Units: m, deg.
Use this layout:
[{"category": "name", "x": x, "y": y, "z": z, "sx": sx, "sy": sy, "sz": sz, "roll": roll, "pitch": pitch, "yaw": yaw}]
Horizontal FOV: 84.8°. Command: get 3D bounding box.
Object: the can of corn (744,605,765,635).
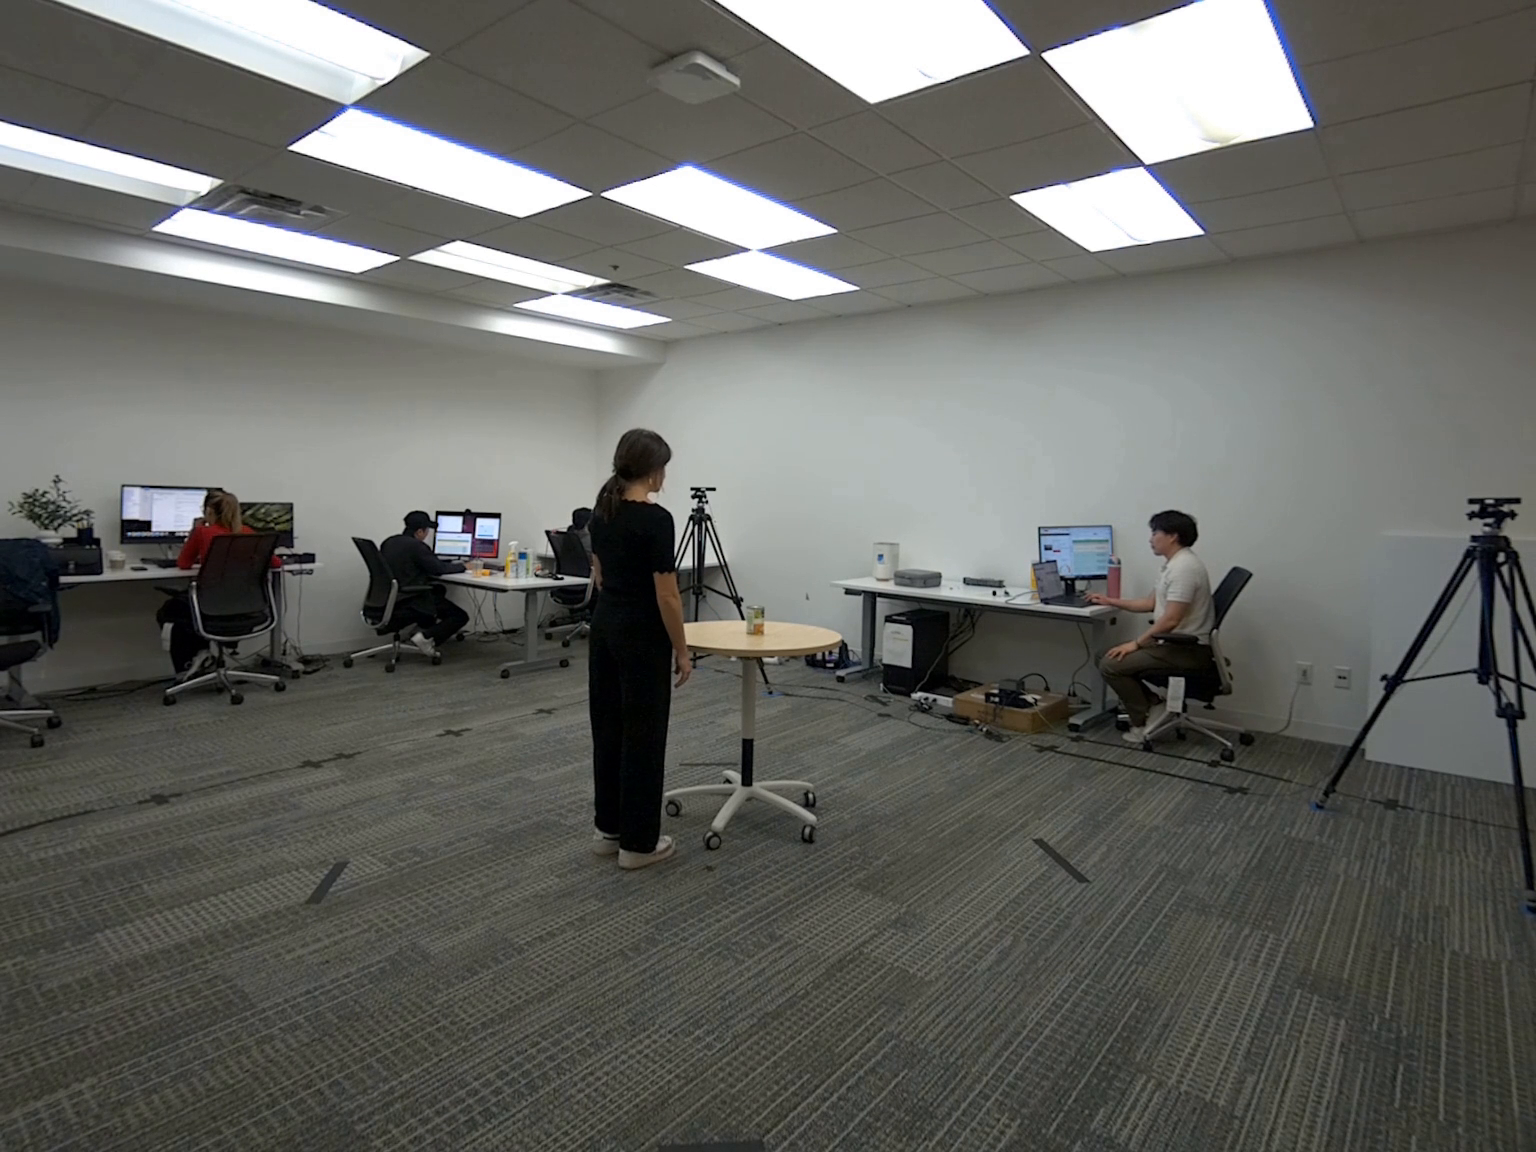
[{"category": "can of corn", "x": -0.063, "y": 0.184, "z": 3.578, "sx": 0.074, "sy": 0.111, "sz": 0.074, "roll": 3, "pitch": 2, "yaw": -2}]
